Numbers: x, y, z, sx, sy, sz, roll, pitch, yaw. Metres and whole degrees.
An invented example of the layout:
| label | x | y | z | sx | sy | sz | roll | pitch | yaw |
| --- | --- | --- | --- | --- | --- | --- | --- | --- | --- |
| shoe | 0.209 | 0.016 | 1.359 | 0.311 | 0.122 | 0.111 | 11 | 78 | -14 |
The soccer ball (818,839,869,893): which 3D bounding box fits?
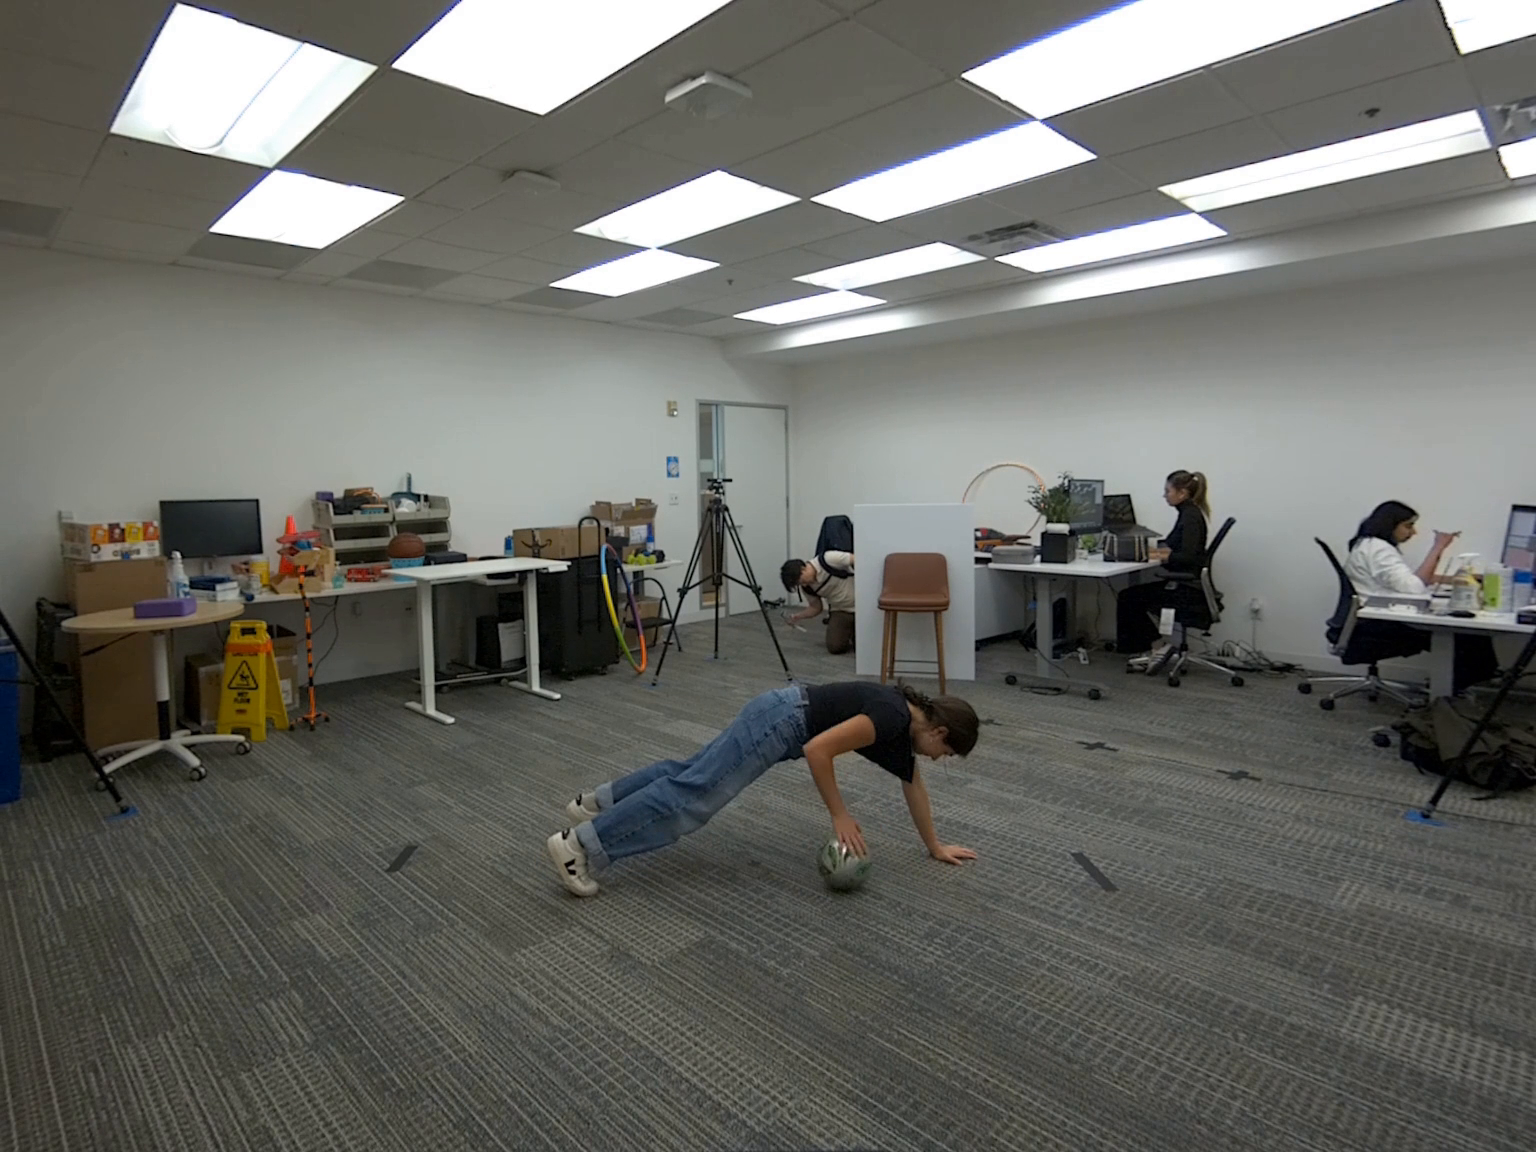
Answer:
| label | x | y | z | sx | sy | sz | roll | pitch | yaw |
| --- | --- | --- | --- | --- | --- | --- | --- | --- | --- |
| soccer ball | 0.266 | 0.964 | 2.907 | 0.187 | 0.187 | 0.188 | -1 | 5 | -2 |
